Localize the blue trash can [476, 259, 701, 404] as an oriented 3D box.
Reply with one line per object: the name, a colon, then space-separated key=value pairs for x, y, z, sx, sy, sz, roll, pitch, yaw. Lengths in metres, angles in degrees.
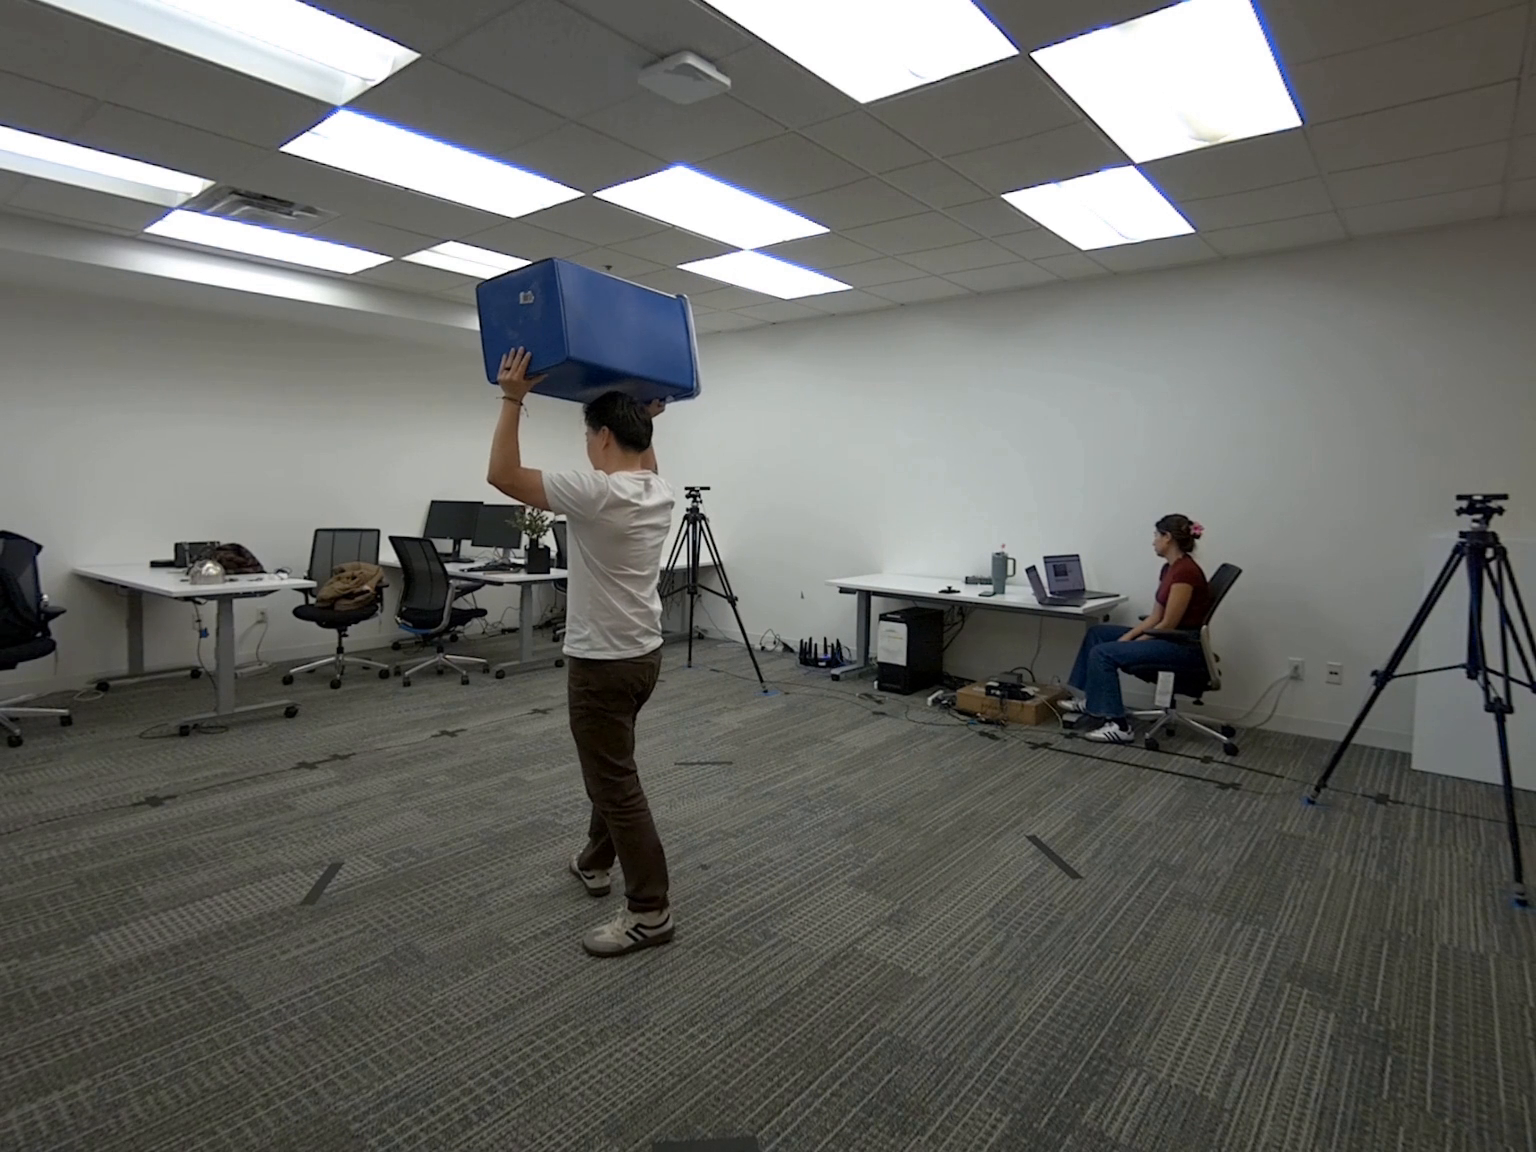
blue trash can: x=-0.578 y=-0.766 z=2.745 sx=0.382 sy=0.378 sz=0.697 roll=-8 pitch=1 yaw=27
